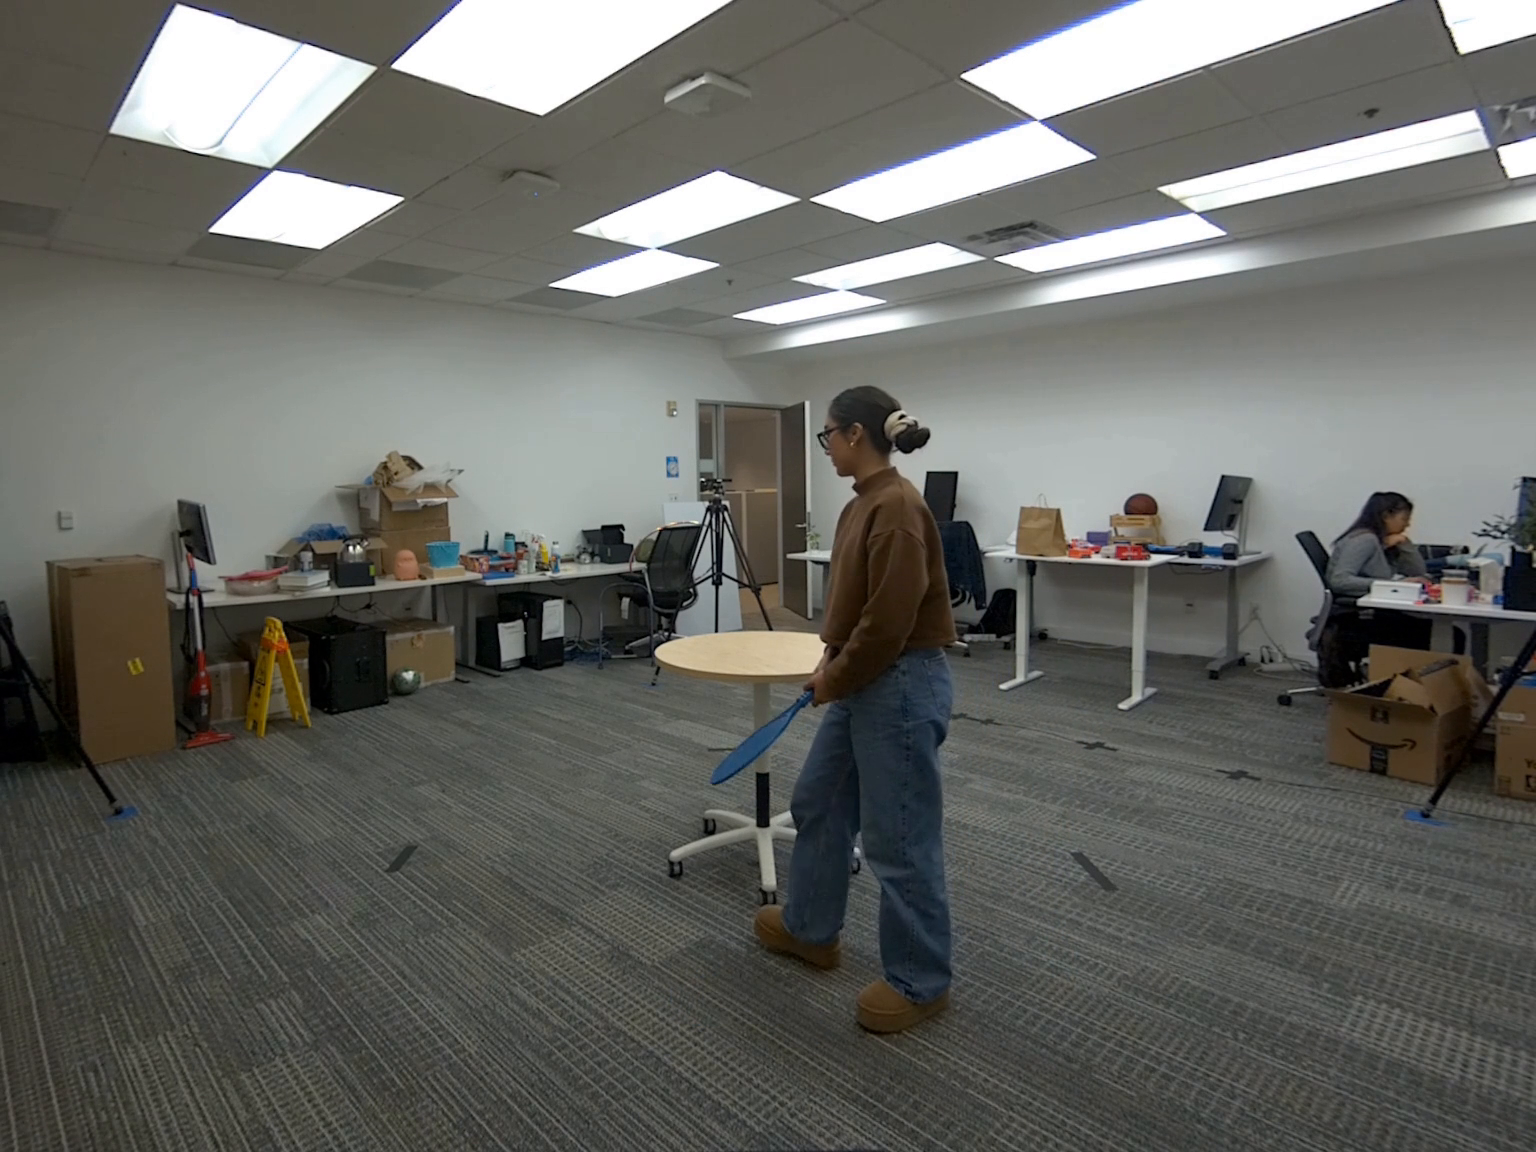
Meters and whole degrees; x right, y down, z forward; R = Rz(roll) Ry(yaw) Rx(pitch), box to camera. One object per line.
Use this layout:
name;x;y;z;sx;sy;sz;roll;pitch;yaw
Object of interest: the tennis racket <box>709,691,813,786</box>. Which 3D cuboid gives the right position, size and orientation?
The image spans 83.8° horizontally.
tennis racket;0.032;0.382;2.183;0.431;0.032;0.214;-39;2;-25
